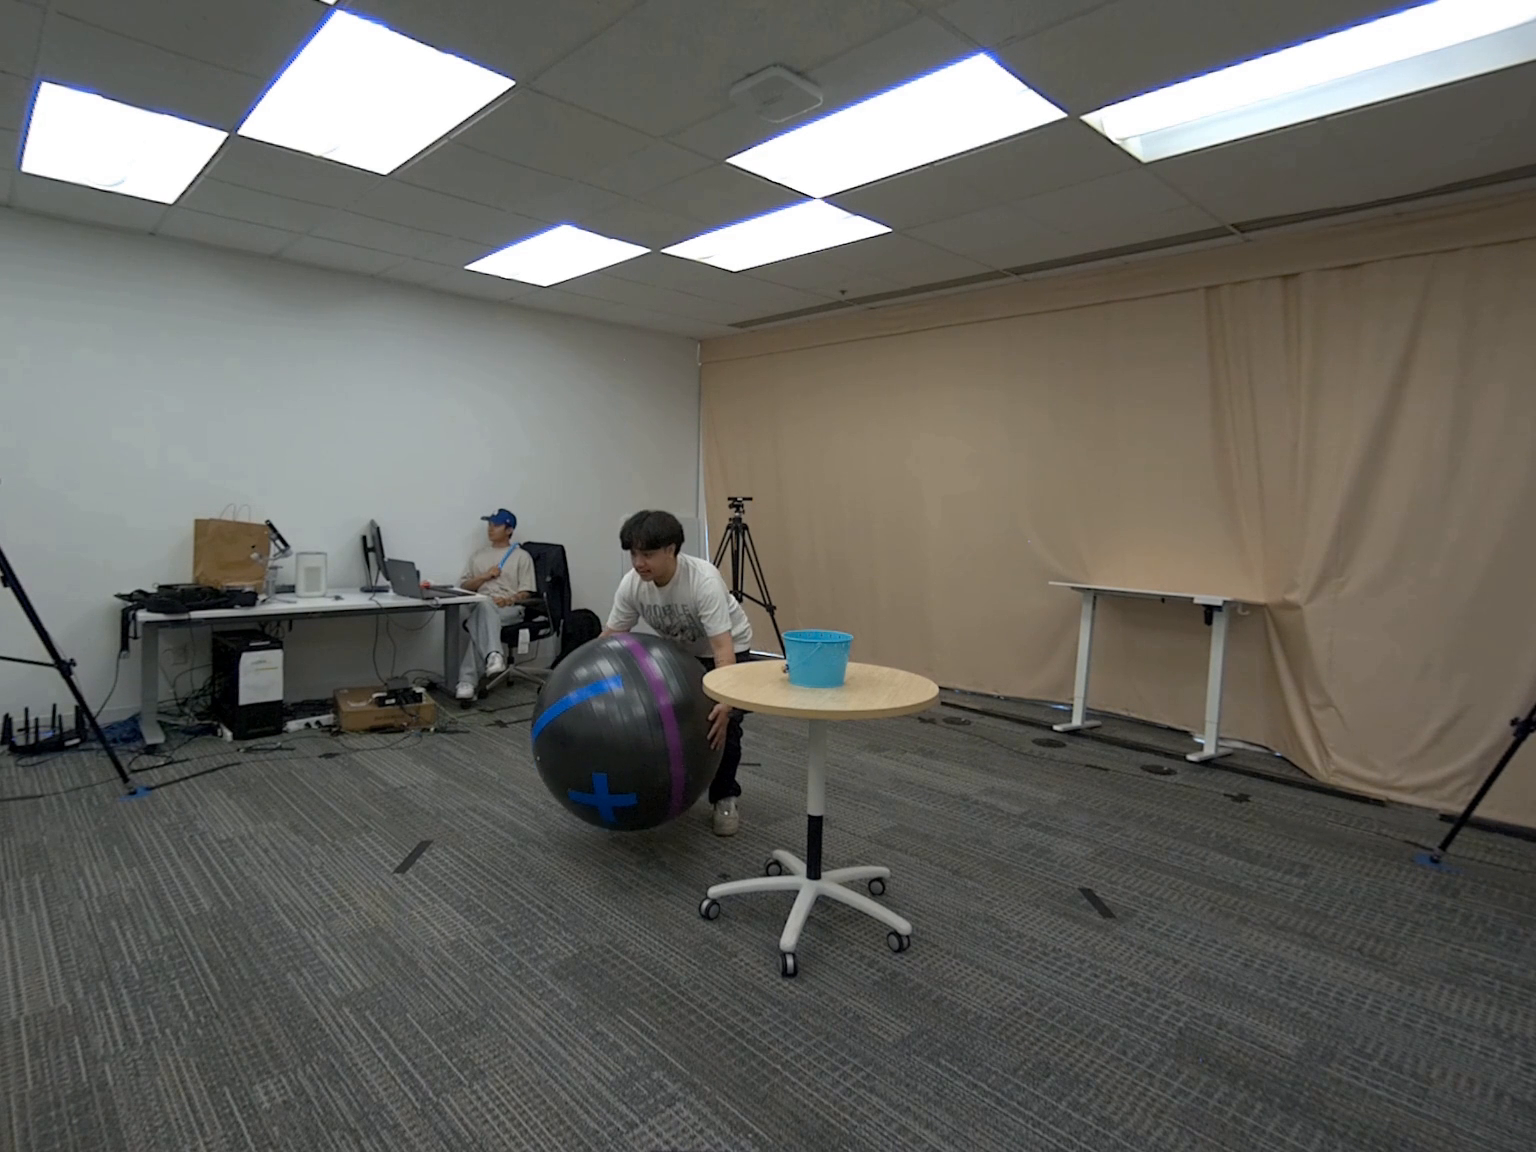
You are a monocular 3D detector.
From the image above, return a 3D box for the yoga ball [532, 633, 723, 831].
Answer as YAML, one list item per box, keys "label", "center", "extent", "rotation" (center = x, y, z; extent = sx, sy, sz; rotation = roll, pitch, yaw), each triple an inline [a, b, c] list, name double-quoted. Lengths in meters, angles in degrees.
- label: "yoga ball"
  center: [-0.567, 0.611, 3.310]
  extent: [0.757, 0.756, 0.761]
  rotation: [1, 4, -1]
